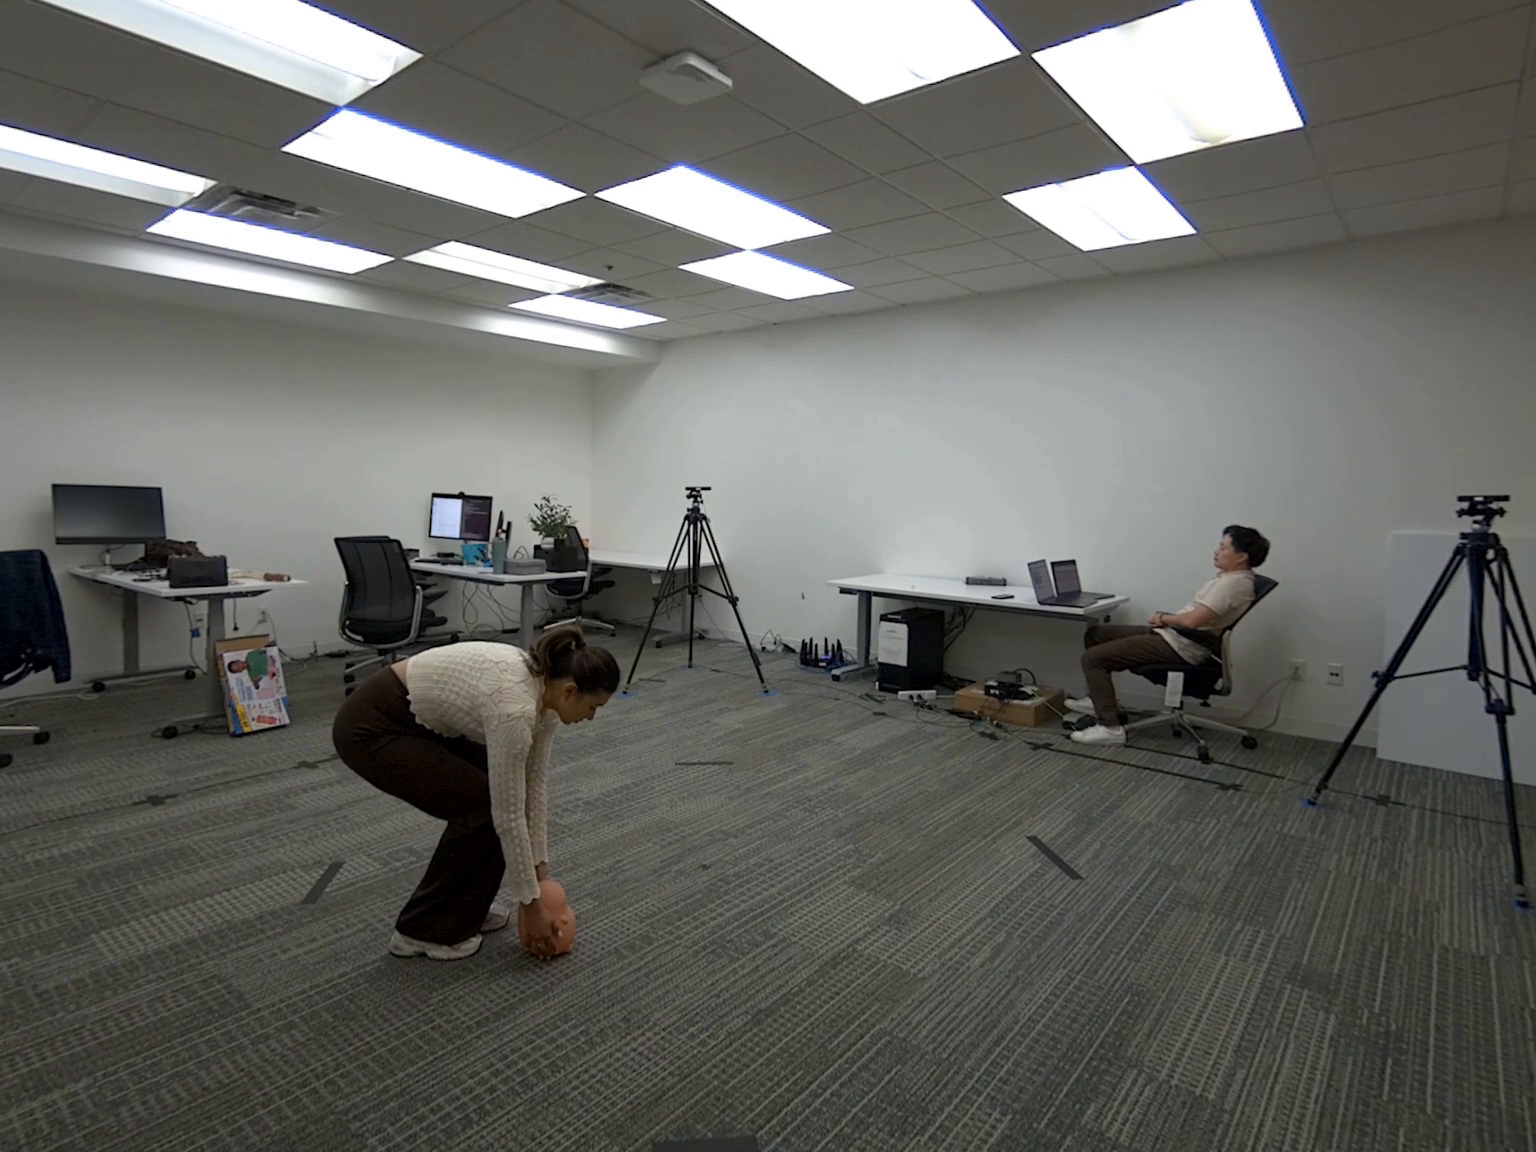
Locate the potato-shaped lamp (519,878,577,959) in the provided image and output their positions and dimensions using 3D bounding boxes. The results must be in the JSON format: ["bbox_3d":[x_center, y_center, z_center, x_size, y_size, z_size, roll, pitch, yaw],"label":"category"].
[{"bbox_3d":[-0.671,1.011,2.547,0.169,0.197,0.168,-1,5,-14],"label":"potato-shaped lamp"}]
